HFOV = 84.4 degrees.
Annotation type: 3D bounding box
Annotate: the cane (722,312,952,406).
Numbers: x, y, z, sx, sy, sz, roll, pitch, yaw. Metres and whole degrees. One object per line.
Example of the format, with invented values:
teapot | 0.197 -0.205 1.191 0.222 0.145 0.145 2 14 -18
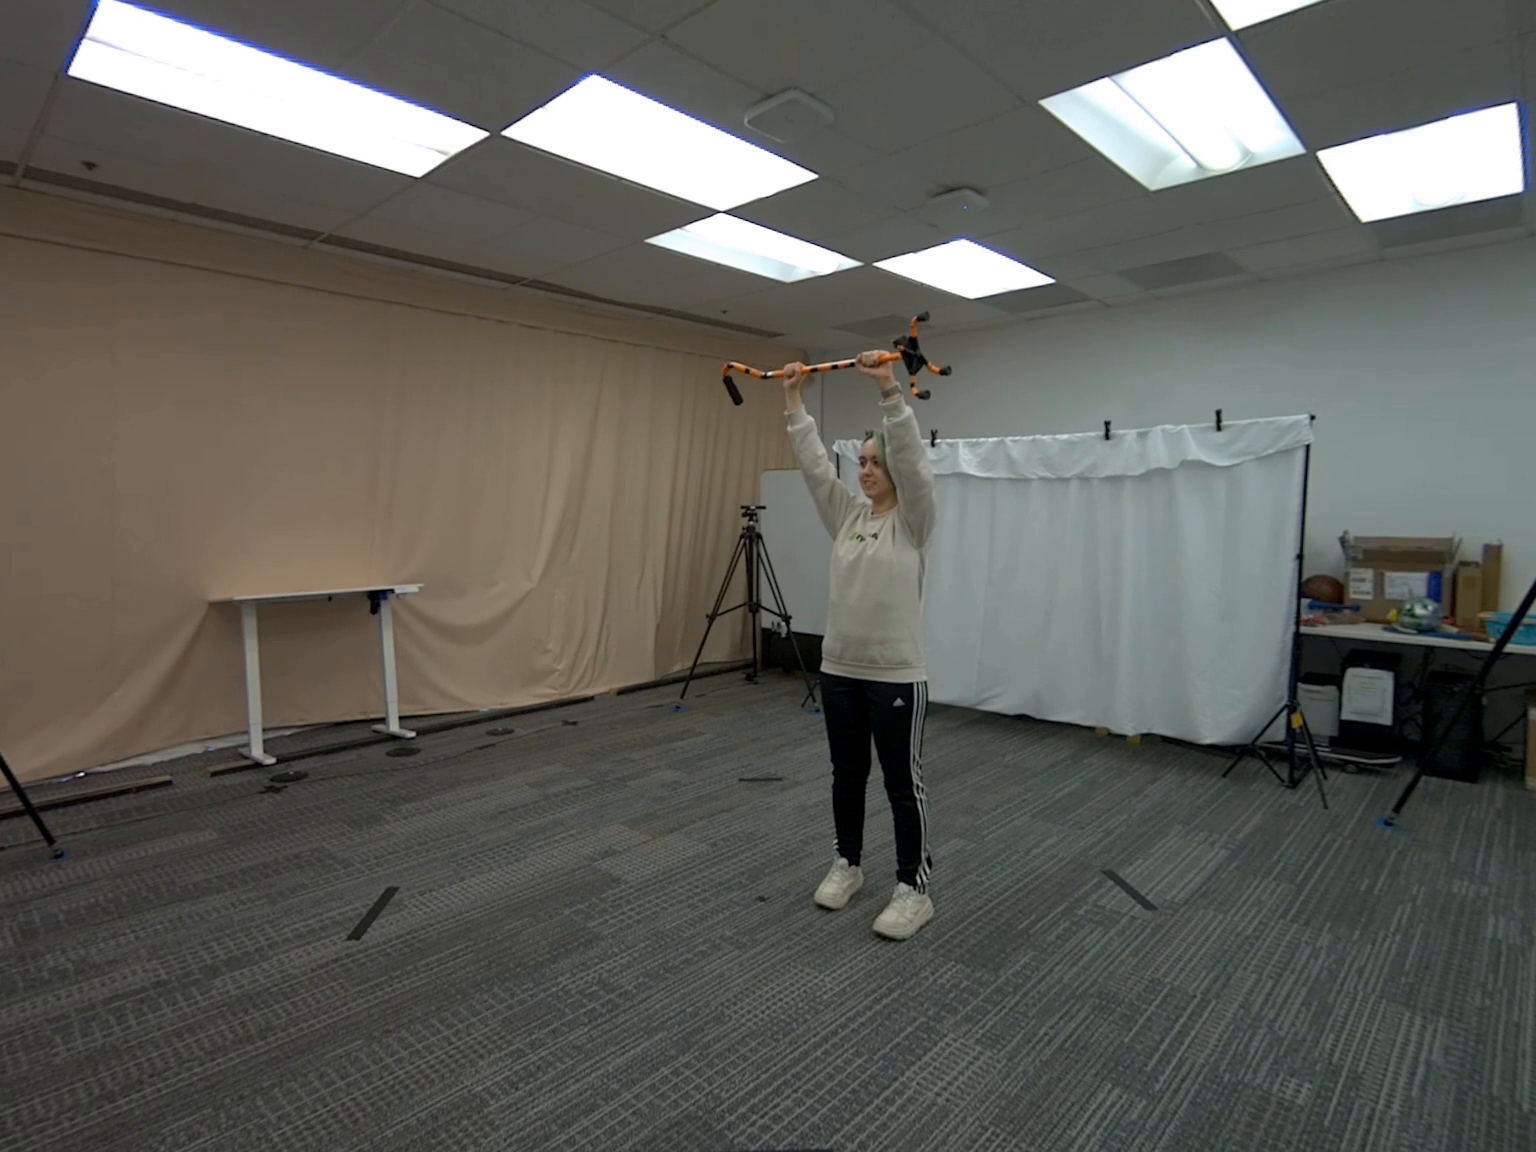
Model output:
cane | 0.141 -0.658 2.713 0.939 0.201 0.150 7 43 50
